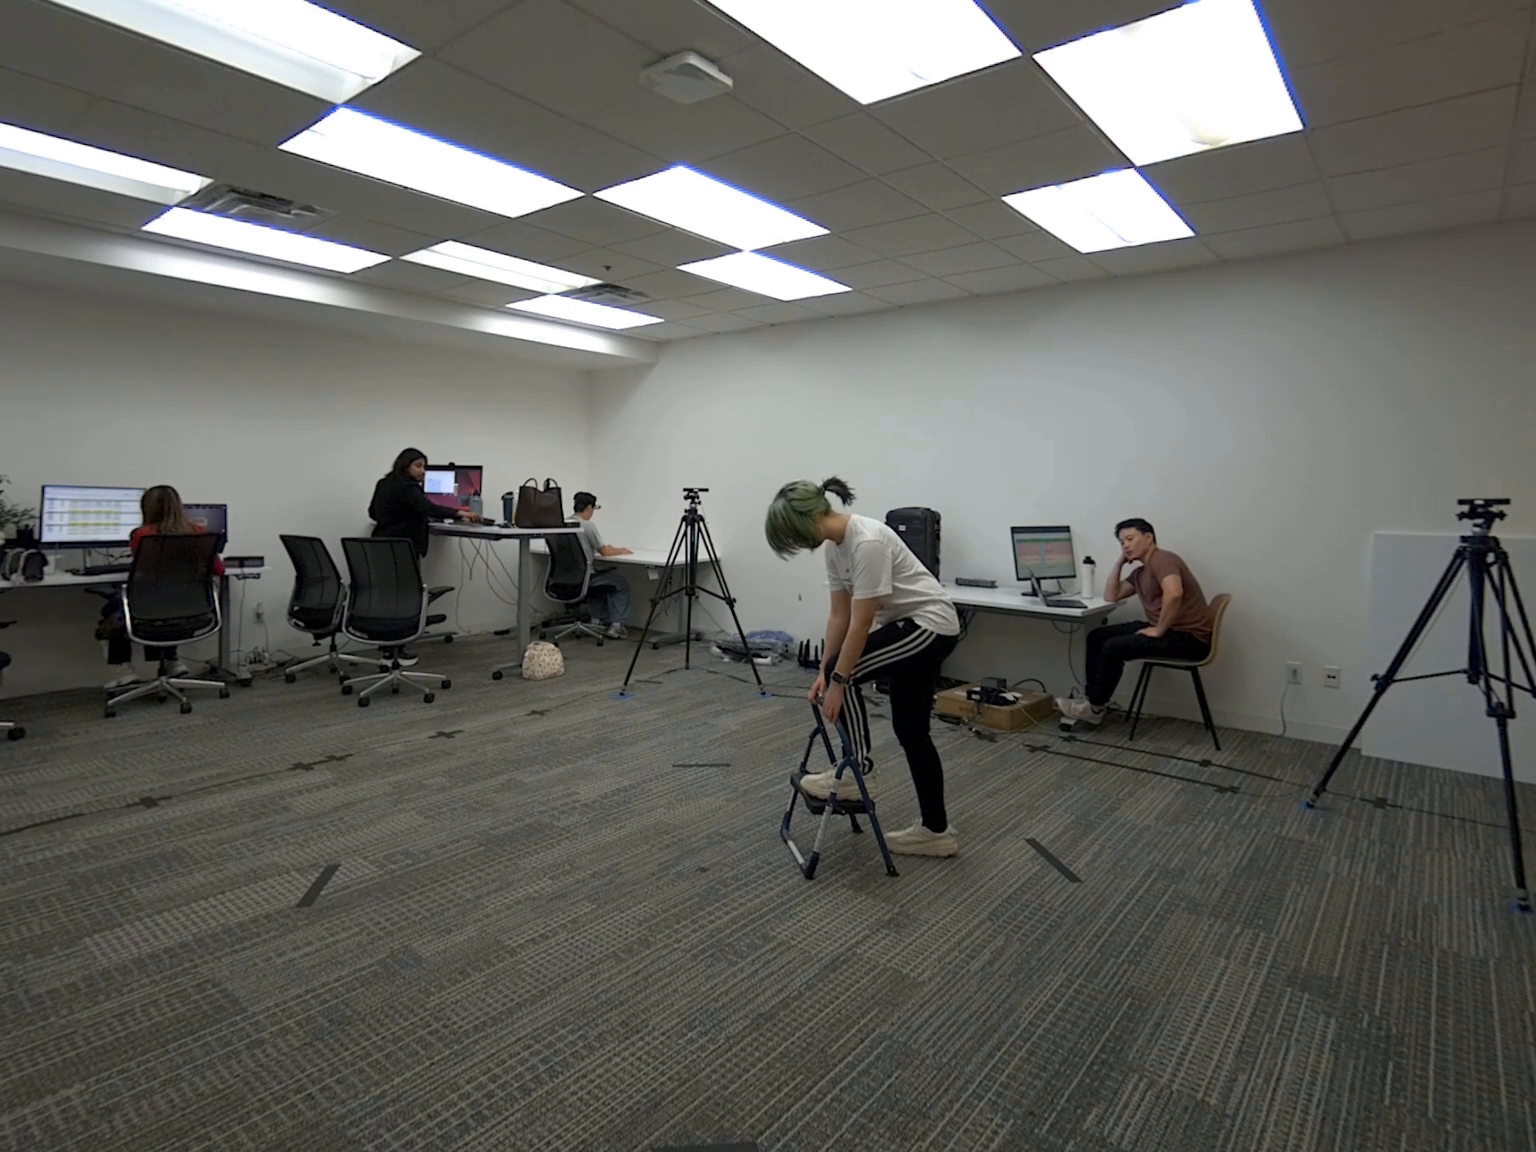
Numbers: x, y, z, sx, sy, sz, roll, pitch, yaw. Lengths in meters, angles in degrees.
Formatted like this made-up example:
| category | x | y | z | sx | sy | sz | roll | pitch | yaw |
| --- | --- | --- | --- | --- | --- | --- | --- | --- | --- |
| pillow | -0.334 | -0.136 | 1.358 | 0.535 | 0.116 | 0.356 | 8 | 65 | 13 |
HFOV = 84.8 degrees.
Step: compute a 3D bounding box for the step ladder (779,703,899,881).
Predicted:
| category | x | y | z | sx | sy | sz | roll | pitch | yaw |
| --- | --- | --- | --- | --- | --- | --- | --- | --- | --- |
| step ladder | 0.262 | 0.769 | 3.257 | 0.345 | 0.604 | 0.437 | 1 | 4 | -12 |
